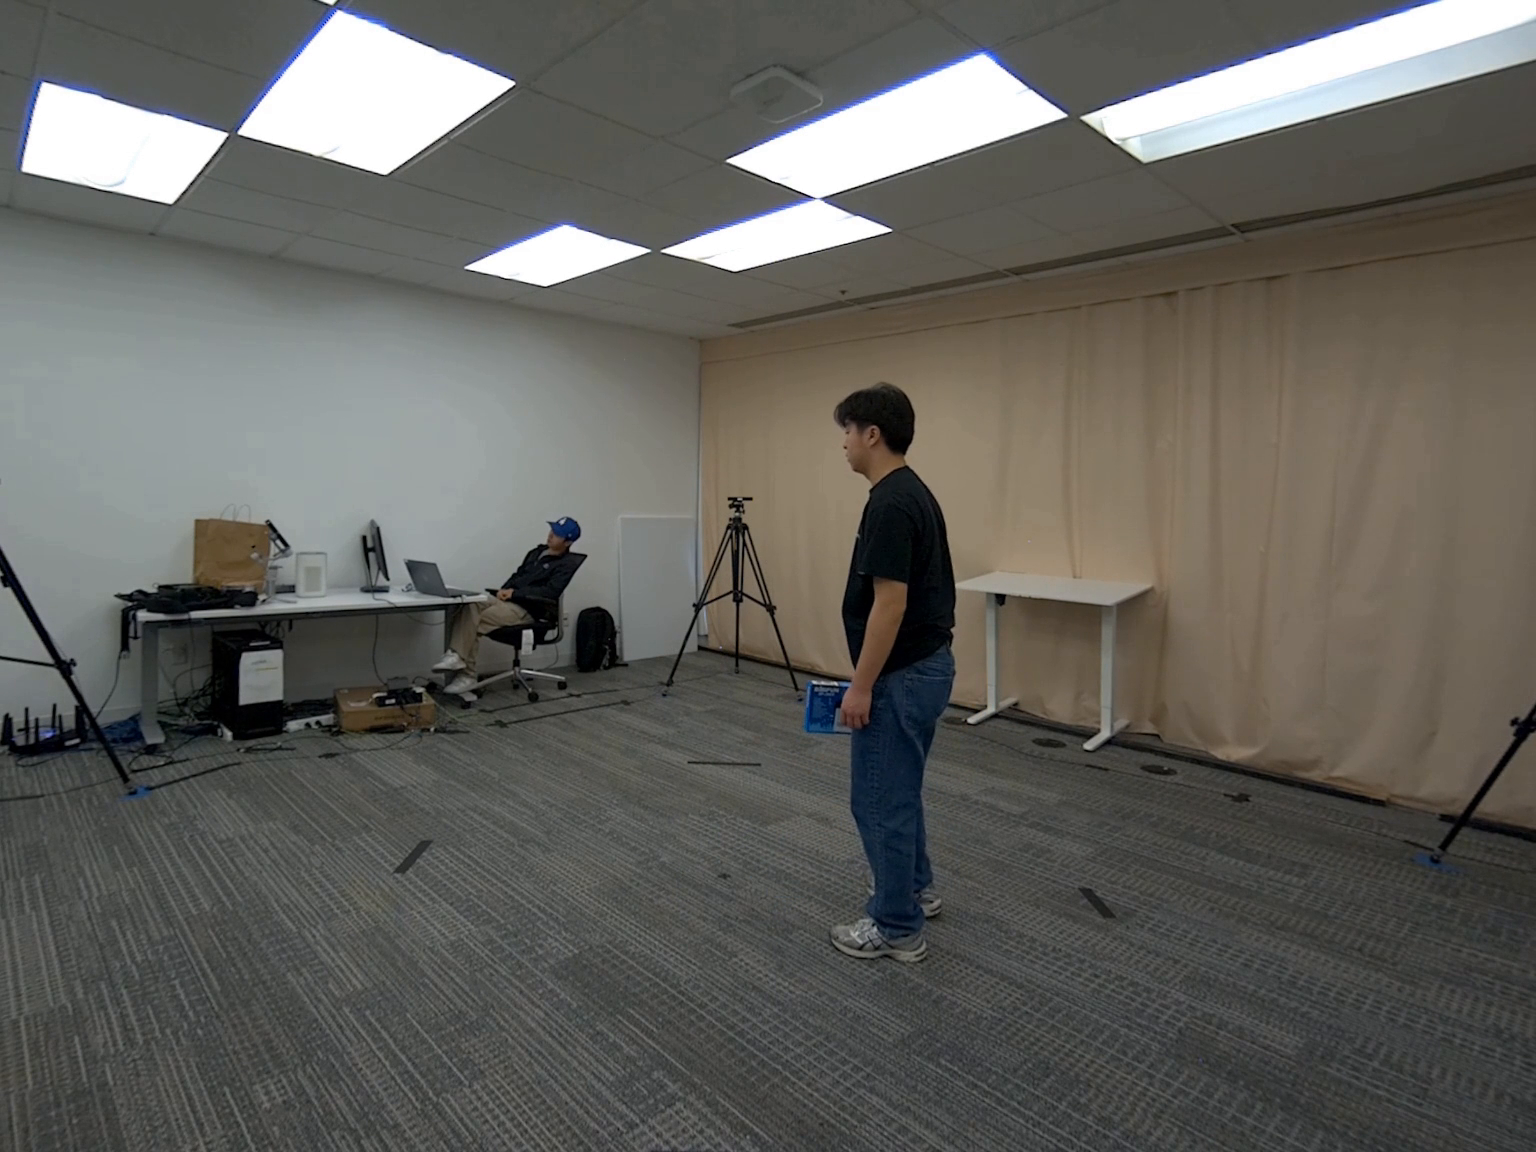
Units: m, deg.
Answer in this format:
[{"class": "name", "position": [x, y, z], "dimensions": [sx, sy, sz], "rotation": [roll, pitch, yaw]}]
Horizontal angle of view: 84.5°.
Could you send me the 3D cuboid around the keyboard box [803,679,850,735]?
[{"class": "keyboard box", "position": [0.349, 0.474, 2.970], "dimensions": [0.434, 0.175, 0.059], "rotation": [4, 4, -7]}]
